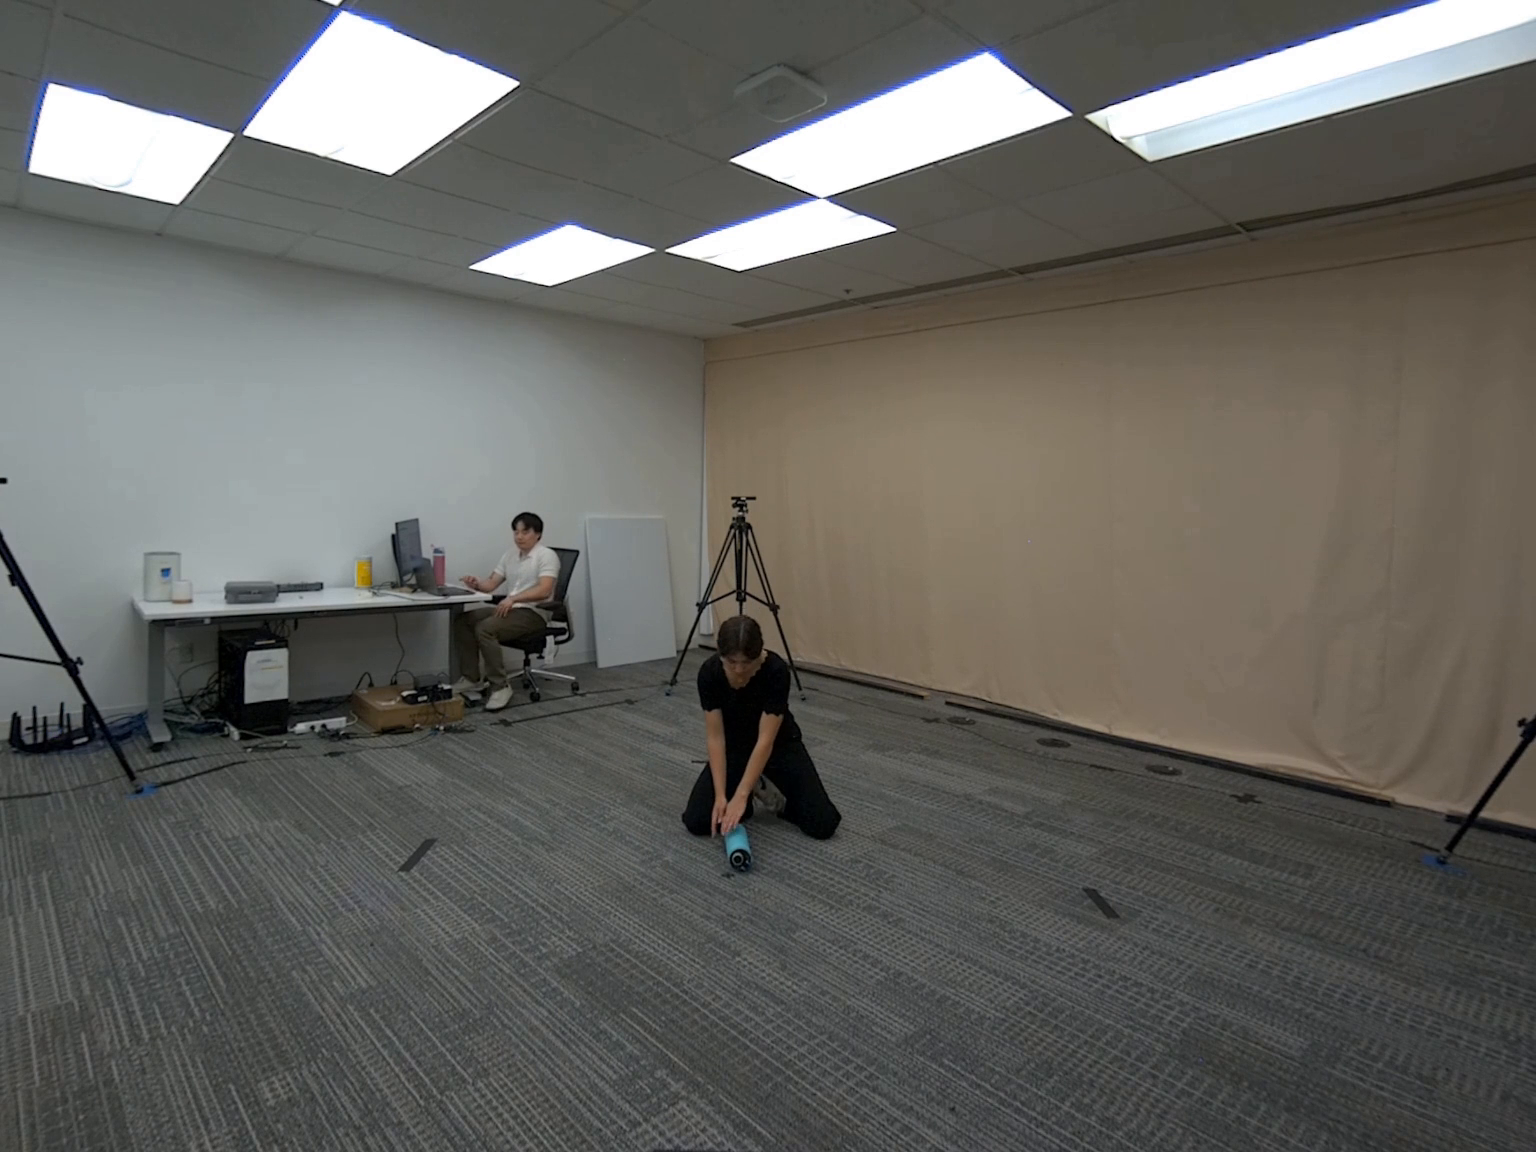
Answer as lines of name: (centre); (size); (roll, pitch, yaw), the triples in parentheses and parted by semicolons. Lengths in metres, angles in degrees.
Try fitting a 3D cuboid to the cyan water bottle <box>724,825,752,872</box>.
cyan water bottle: (-0.127, 1.050, 3.248); (0.092, 0.092, 0.285); (1, 6, -3)
